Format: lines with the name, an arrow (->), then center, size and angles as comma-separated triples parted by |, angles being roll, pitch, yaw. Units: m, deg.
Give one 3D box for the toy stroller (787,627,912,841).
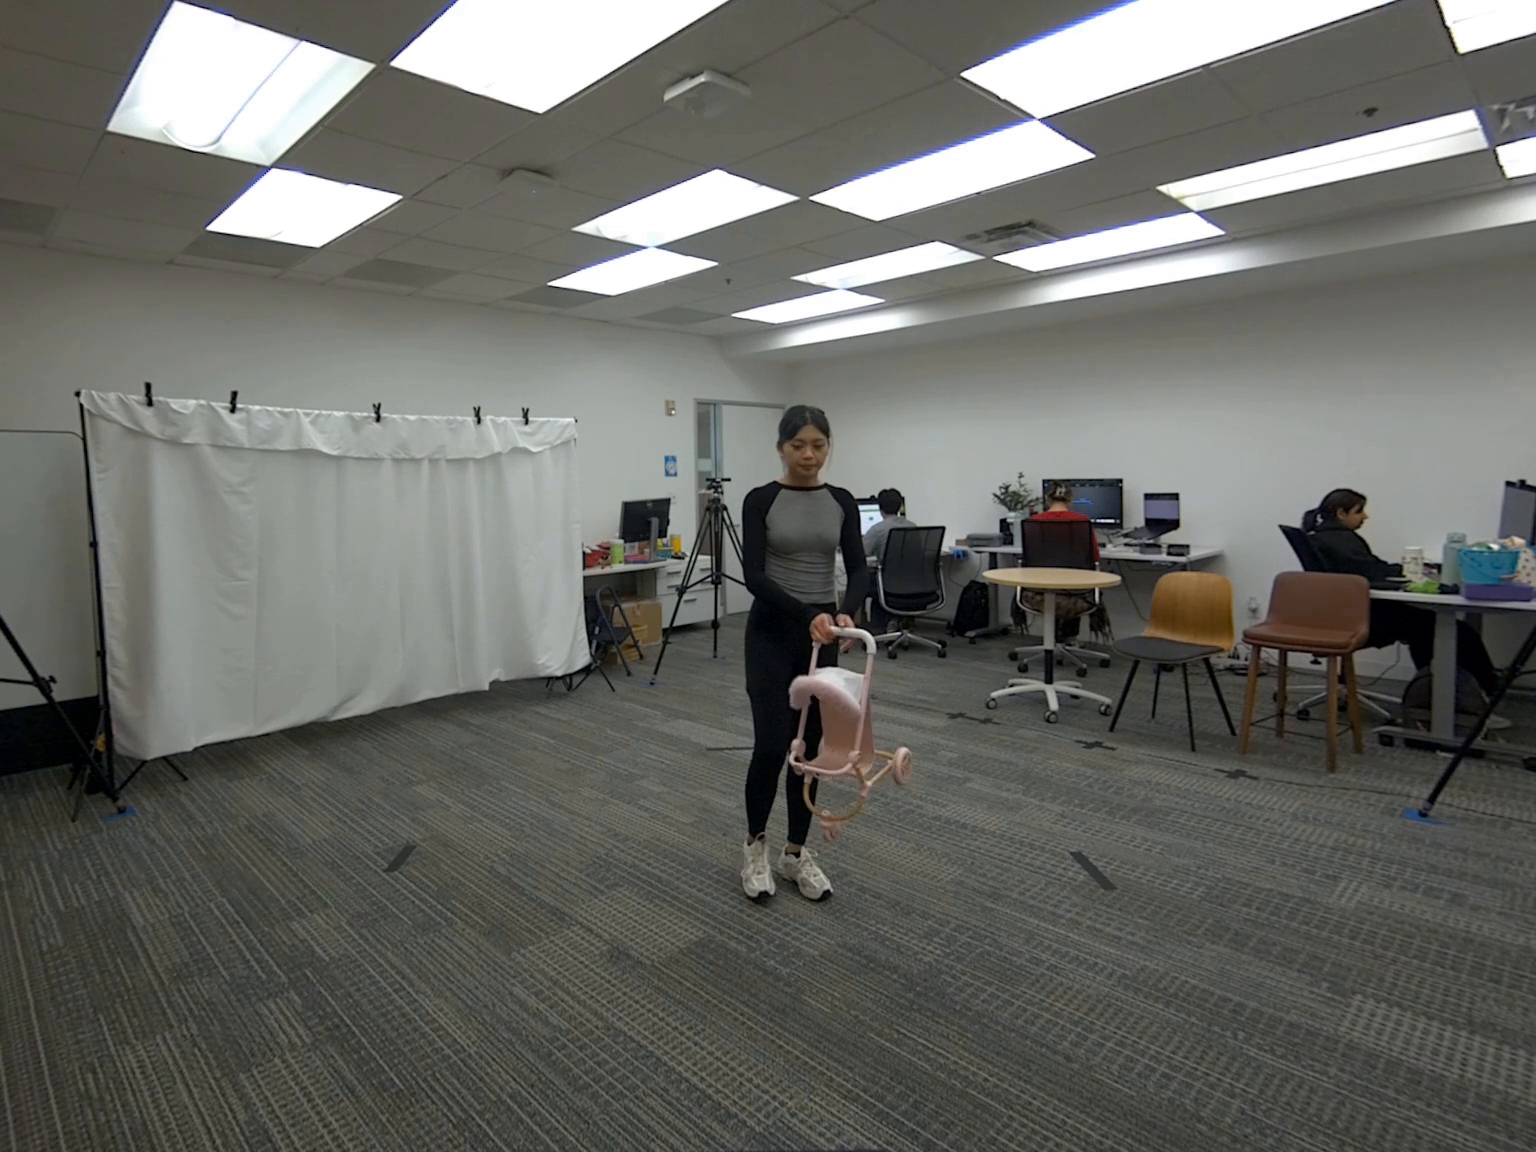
toy stroller -> 0.203, 0.473, 2.476 | 0.290, 0.523, 0.338 | 5, 29, 41
